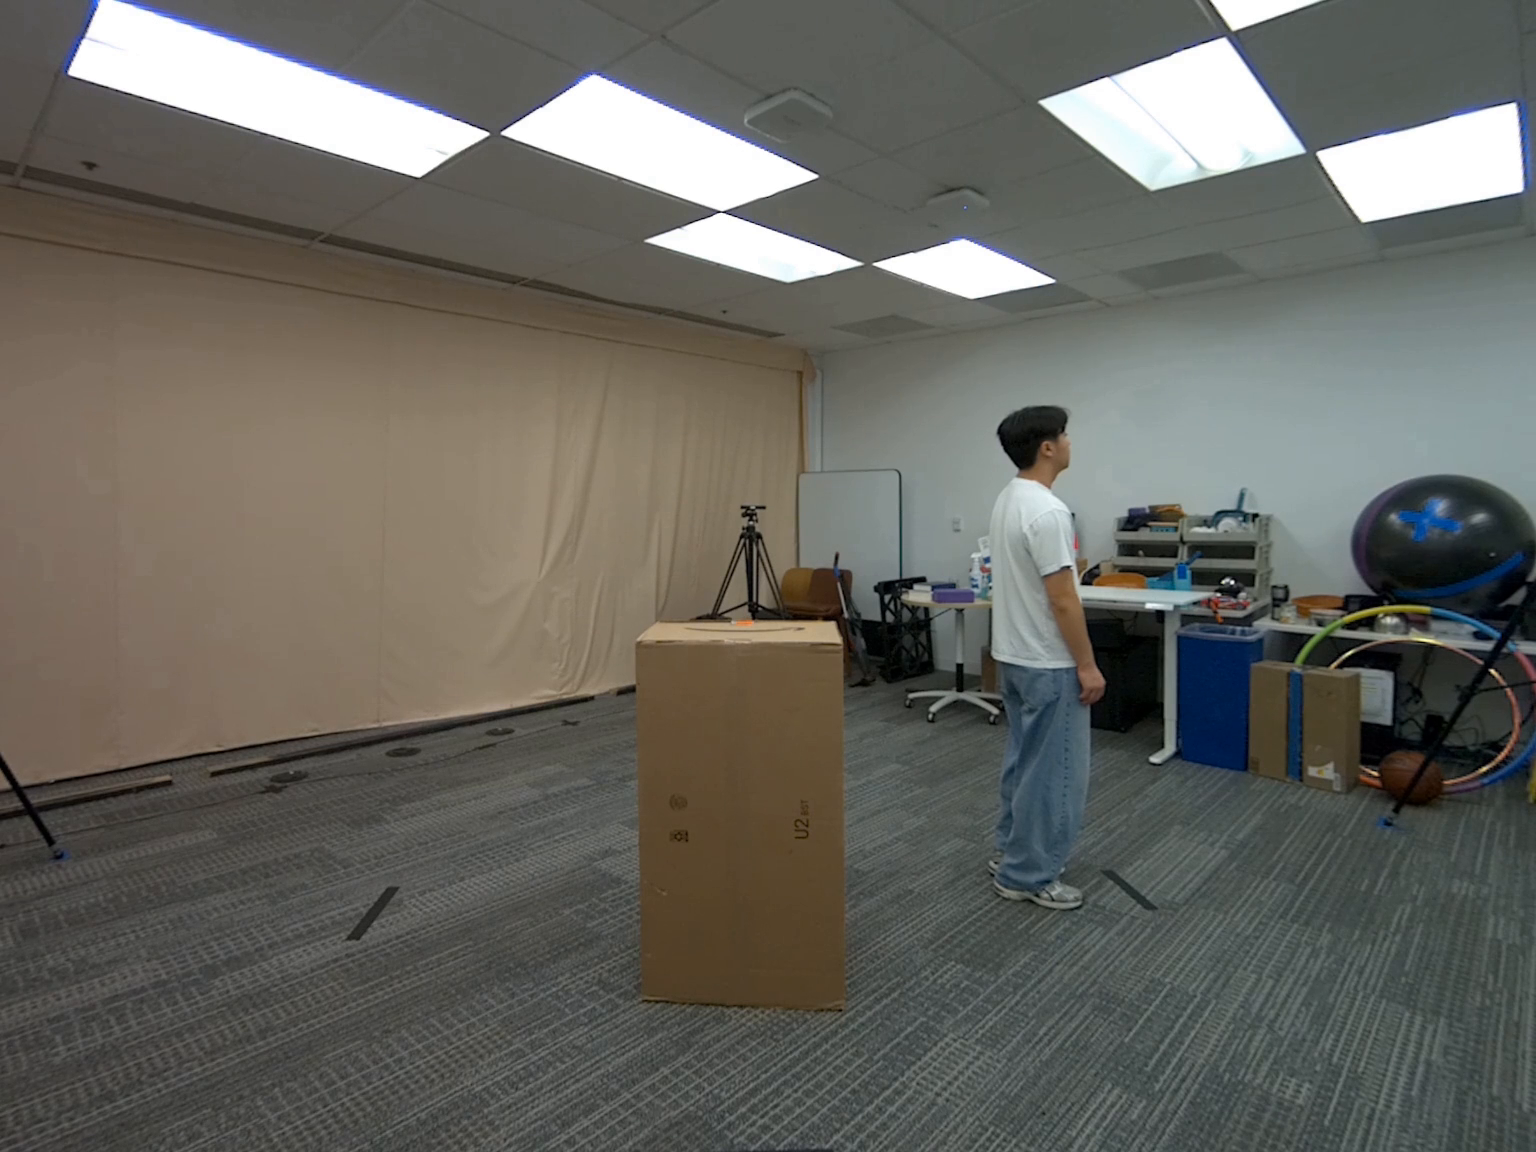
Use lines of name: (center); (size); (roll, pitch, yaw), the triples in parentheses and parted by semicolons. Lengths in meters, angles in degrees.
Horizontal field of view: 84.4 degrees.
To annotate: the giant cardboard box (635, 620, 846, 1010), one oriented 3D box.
giant cardboard box: (-0.069, 0.674, 2.520); (0.581, 1.024, 0.424); (0, 3, 5)
